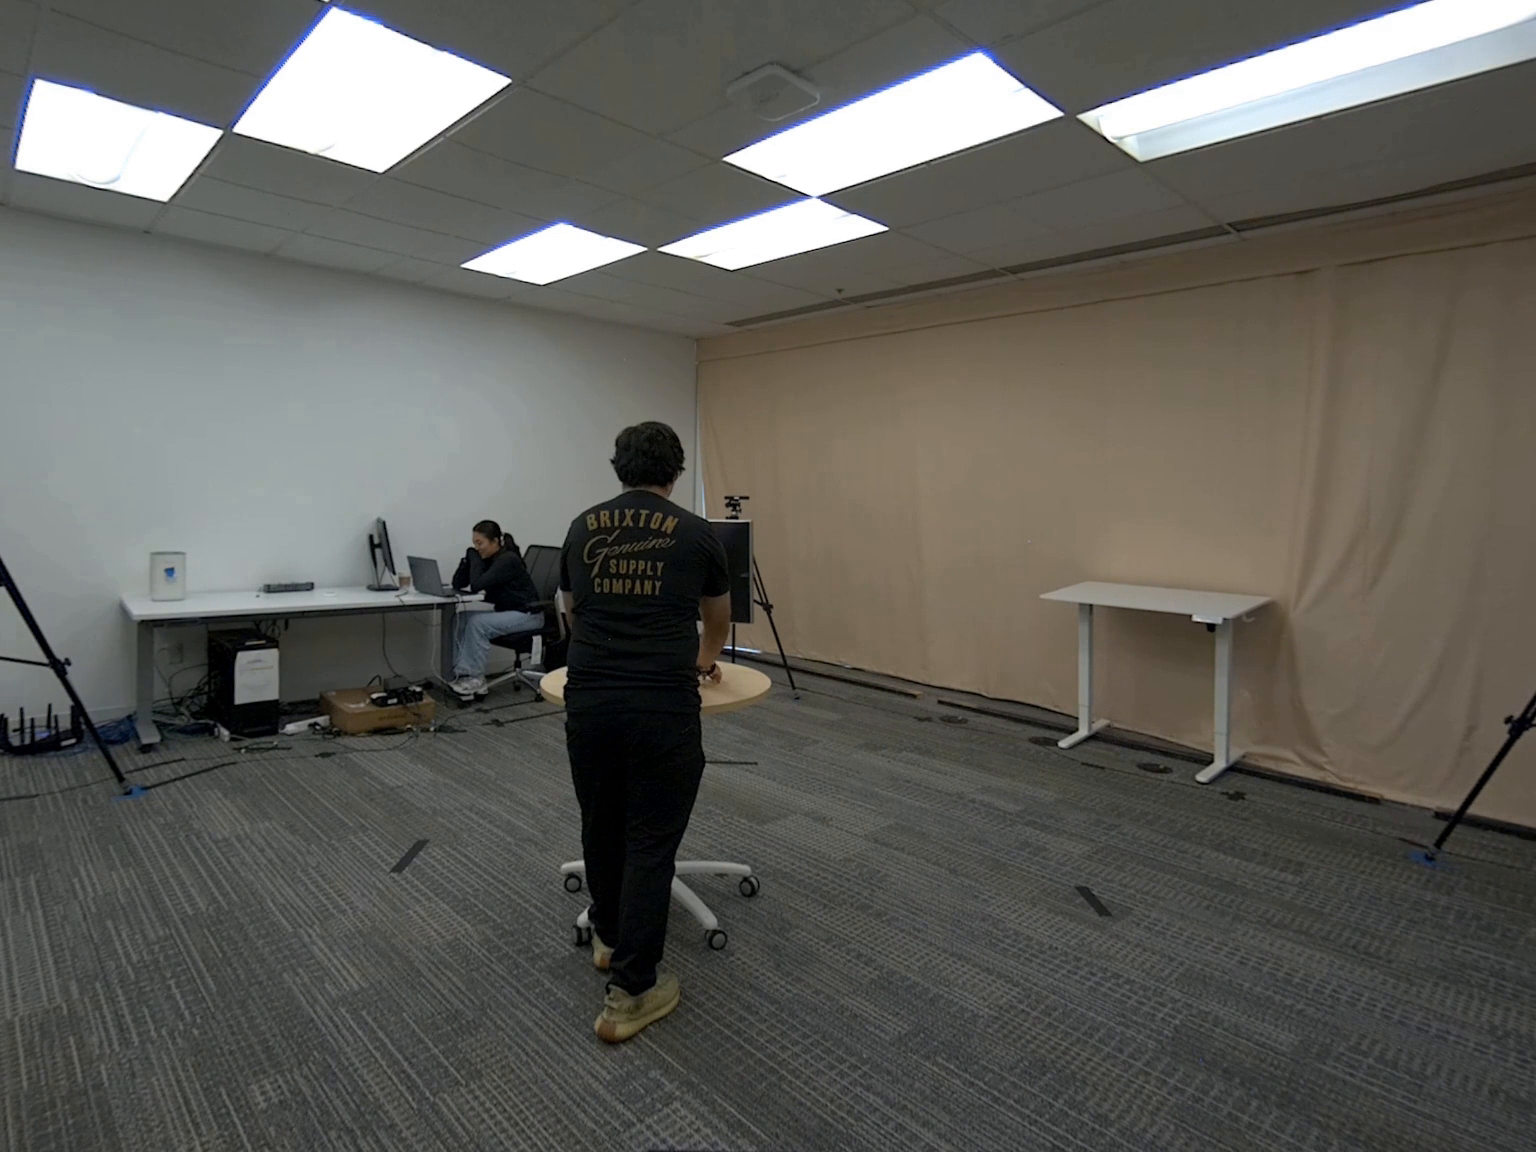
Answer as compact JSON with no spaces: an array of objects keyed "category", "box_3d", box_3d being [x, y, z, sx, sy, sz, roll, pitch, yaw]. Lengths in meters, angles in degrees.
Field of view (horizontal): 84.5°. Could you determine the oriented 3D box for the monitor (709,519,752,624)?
[{"category":"monitor","box_3d":[-0.347,0.078,2.945,0.574,0.551,0.208,2,6,19]}]
